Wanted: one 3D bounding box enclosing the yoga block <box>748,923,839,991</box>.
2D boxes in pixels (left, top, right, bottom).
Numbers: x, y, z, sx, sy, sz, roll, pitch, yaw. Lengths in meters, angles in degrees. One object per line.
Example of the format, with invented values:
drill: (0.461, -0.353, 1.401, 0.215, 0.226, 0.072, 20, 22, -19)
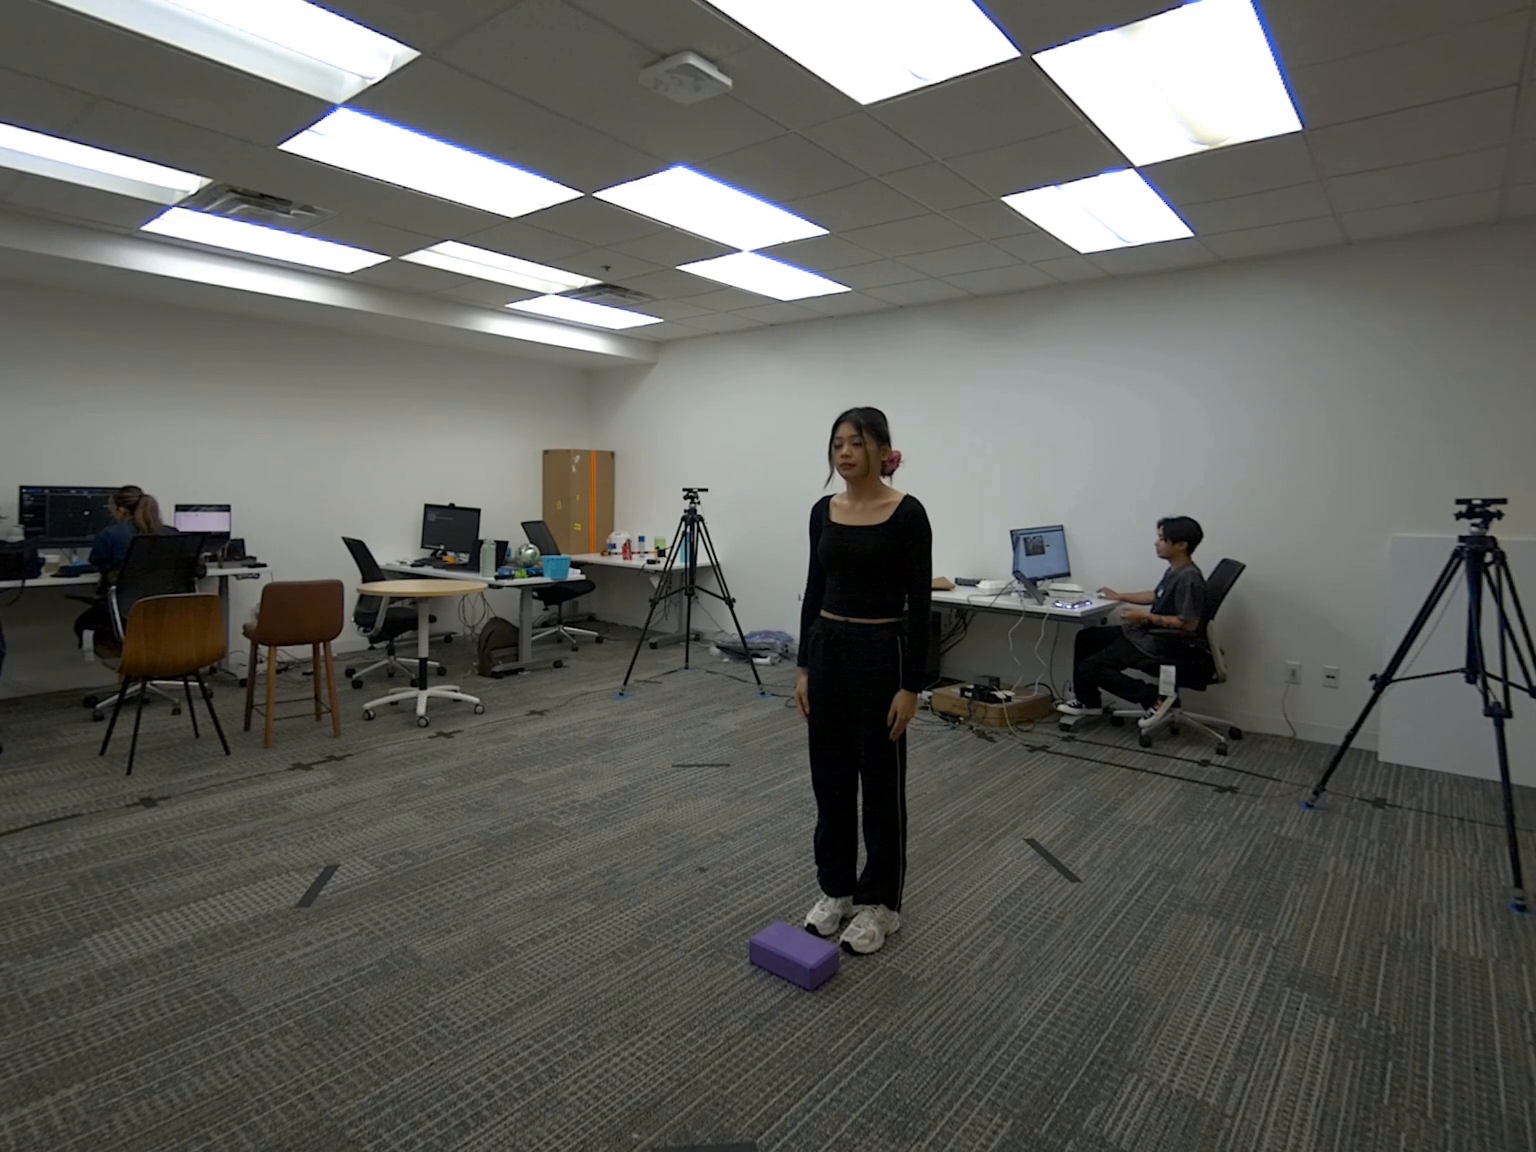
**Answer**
yoga block: (0.072, 1.096, 2.479, 0.237, 0.076, 0.145, 5, 8, 40)
